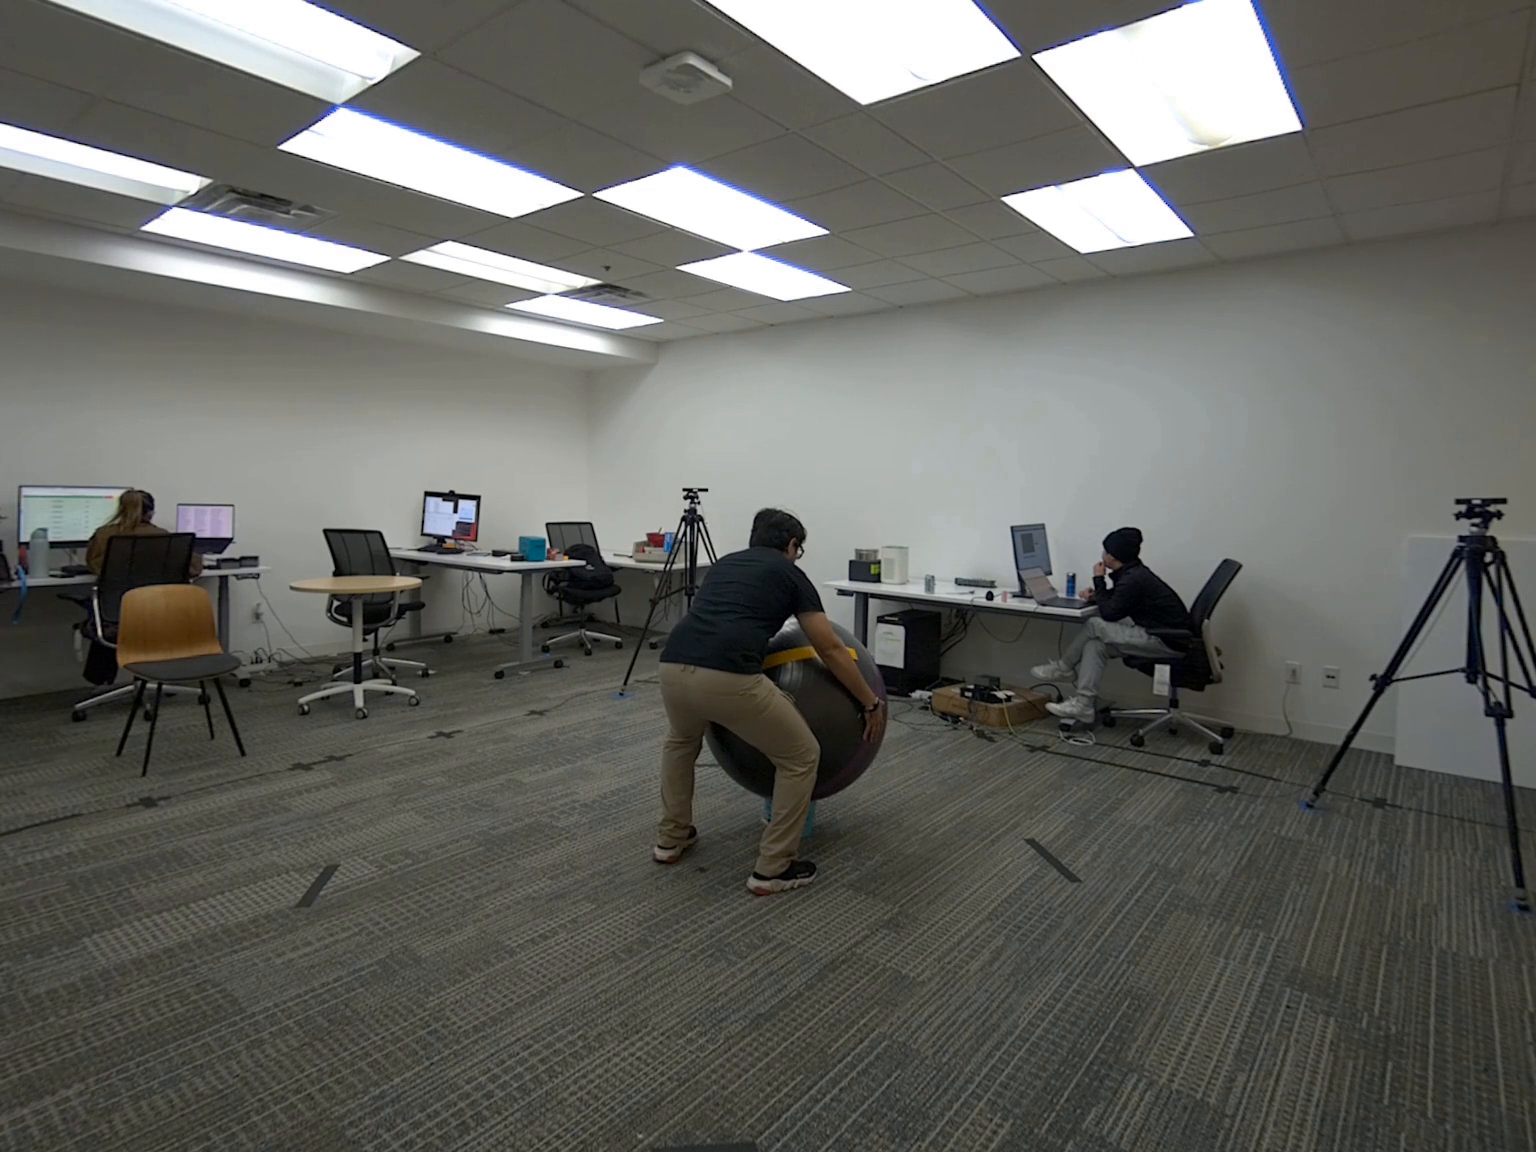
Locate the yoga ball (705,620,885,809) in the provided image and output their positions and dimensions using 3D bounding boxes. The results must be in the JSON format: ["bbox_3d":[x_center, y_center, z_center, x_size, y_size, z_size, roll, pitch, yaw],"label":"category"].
[{"bbox_3d":[0.102,0.532,3.476,0.757,0.755,0.762,1,4,-2],"label":"yoga ball"}]
